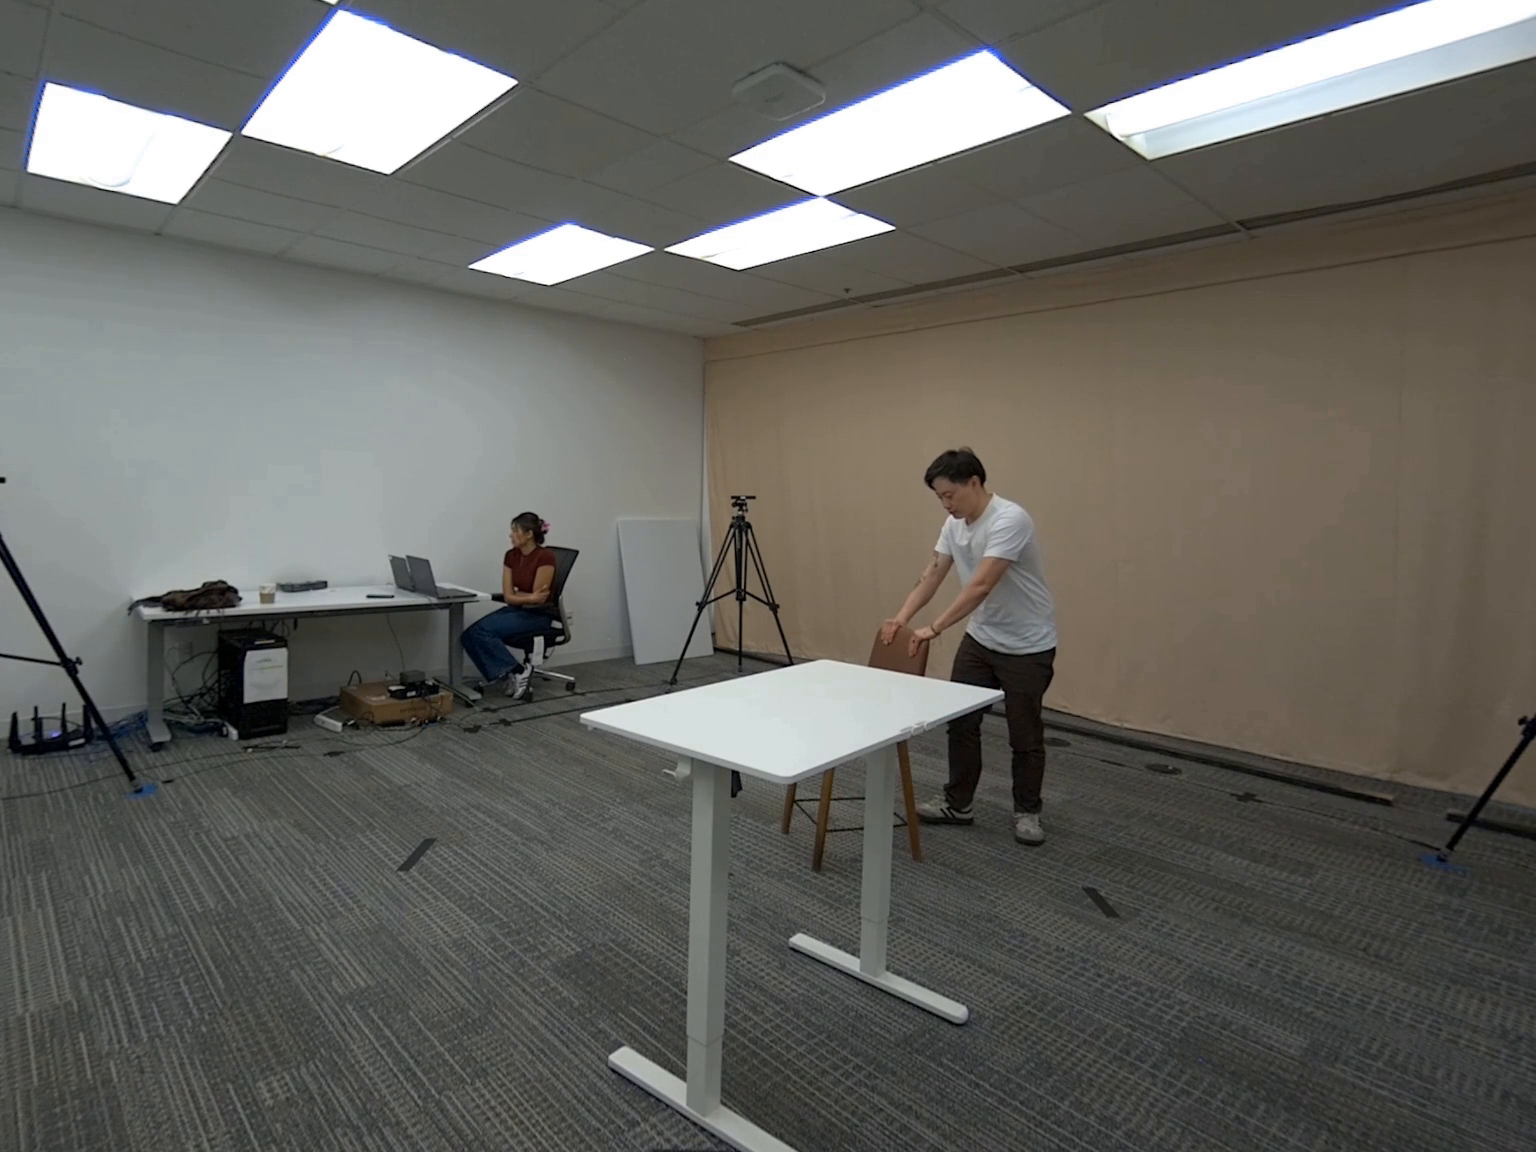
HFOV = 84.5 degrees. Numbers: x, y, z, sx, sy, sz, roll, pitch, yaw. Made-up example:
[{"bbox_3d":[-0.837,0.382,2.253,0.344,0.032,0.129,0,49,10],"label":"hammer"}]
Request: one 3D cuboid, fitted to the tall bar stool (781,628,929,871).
[{"bbox_3d":[0.348,0.657,3.359,0.461,0.888,0.463,3,3,-17],"label":"tall bar stool"}]
